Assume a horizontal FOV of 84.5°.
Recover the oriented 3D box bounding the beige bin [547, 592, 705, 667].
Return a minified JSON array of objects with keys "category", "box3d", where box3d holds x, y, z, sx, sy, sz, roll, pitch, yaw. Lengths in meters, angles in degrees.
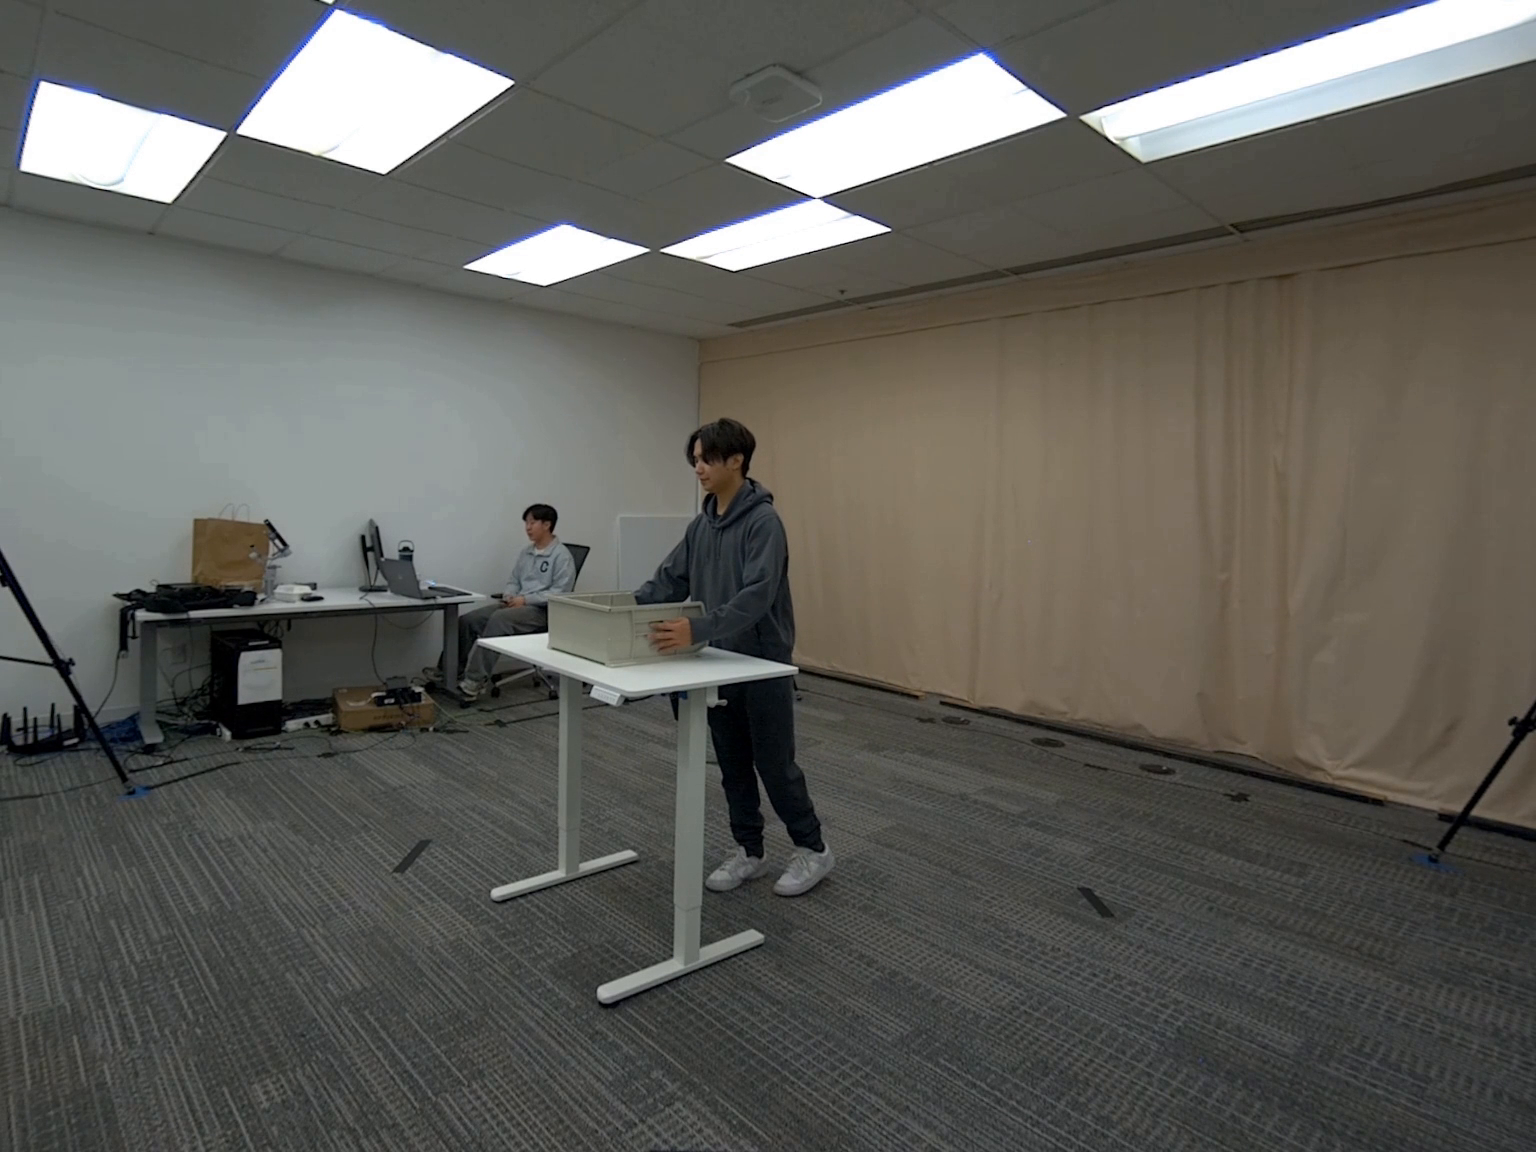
[{"category":"beige bin","box3d":[-0.480,0.167,2.719,0.369,0.188,0.433,-2,6,-41]}]
